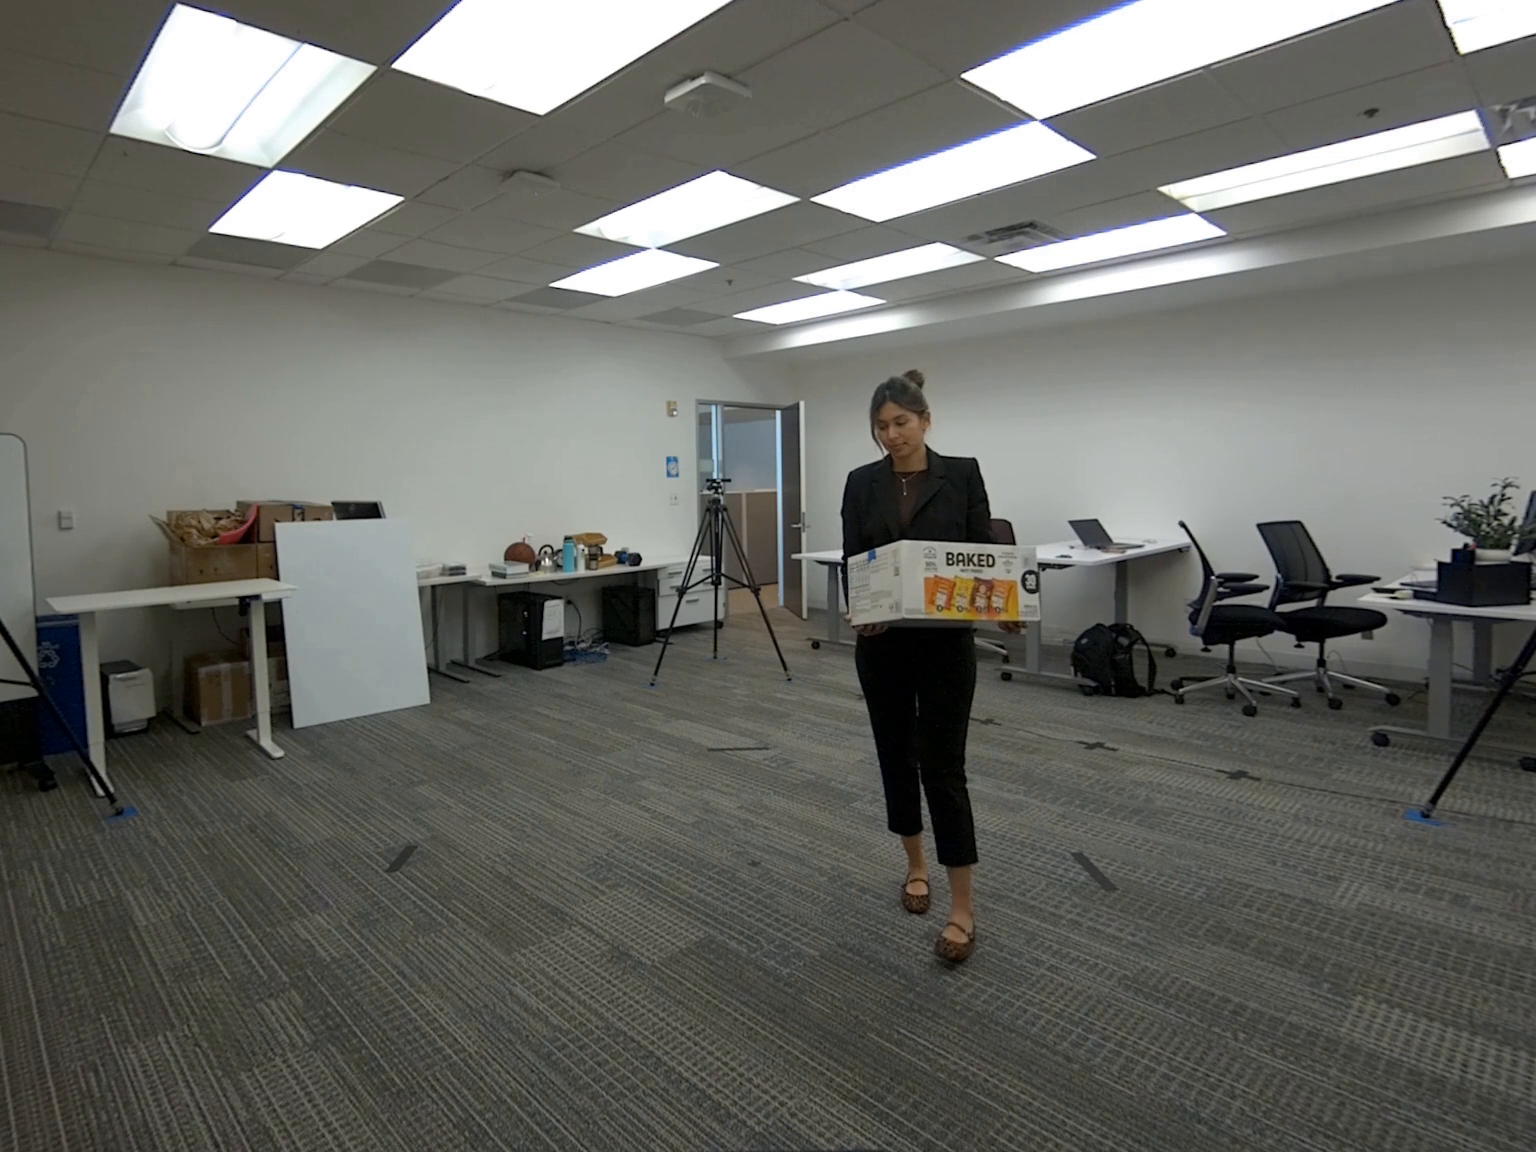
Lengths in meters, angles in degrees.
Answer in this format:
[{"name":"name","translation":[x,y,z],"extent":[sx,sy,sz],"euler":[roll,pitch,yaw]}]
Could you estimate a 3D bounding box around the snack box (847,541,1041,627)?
[{"name":"snack box","translation":[0.477,0.036,2.385],"extent":[0.399,0.207,0.343],"euler":[2,-9,-17]}]
